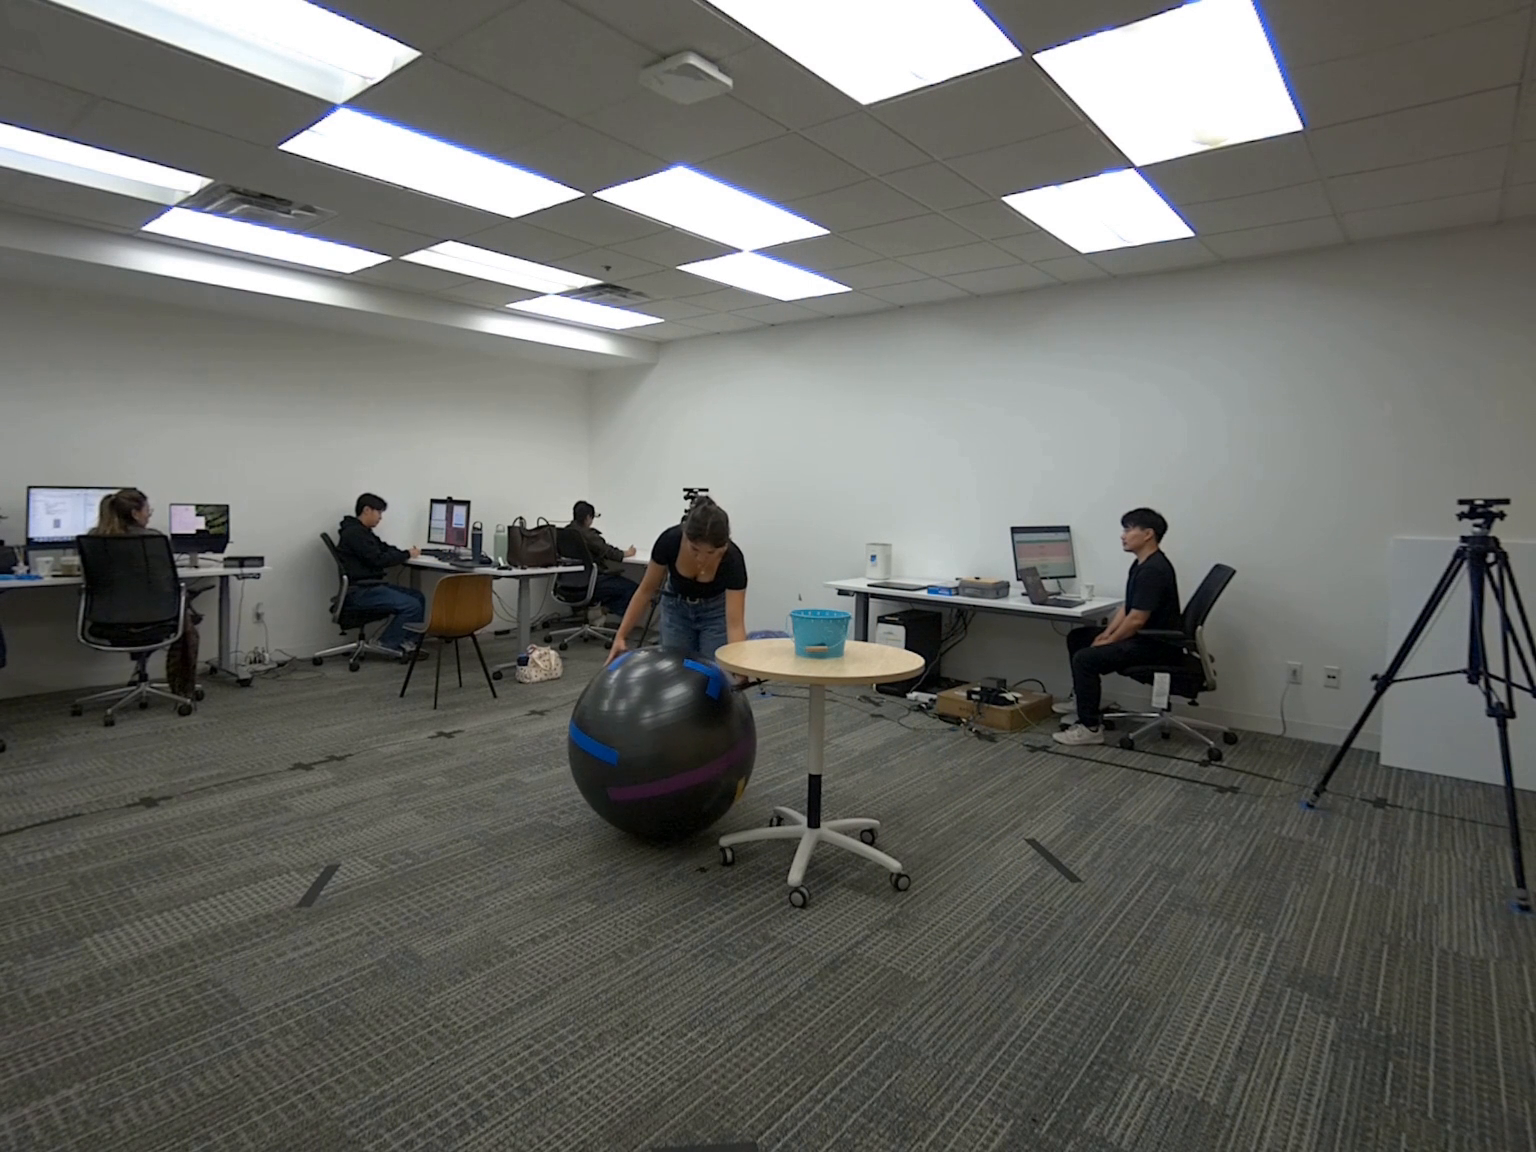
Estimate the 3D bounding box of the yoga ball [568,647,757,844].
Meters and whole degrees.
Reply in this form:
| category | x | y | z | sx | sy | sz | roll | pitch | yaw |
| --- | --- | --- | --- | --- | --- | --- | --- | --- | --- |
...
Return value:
| category | x | y | z | sx | sy | sz | roll | pitch | yaw |
| --- | --- | --- | --- | --- | --- | --- | --- | --- | --- |
| yoga ball | -0.444 | 0.674 | 3.436 | 0.757 | 0.756 | 0.762 | 1 | 4 | -2 |
